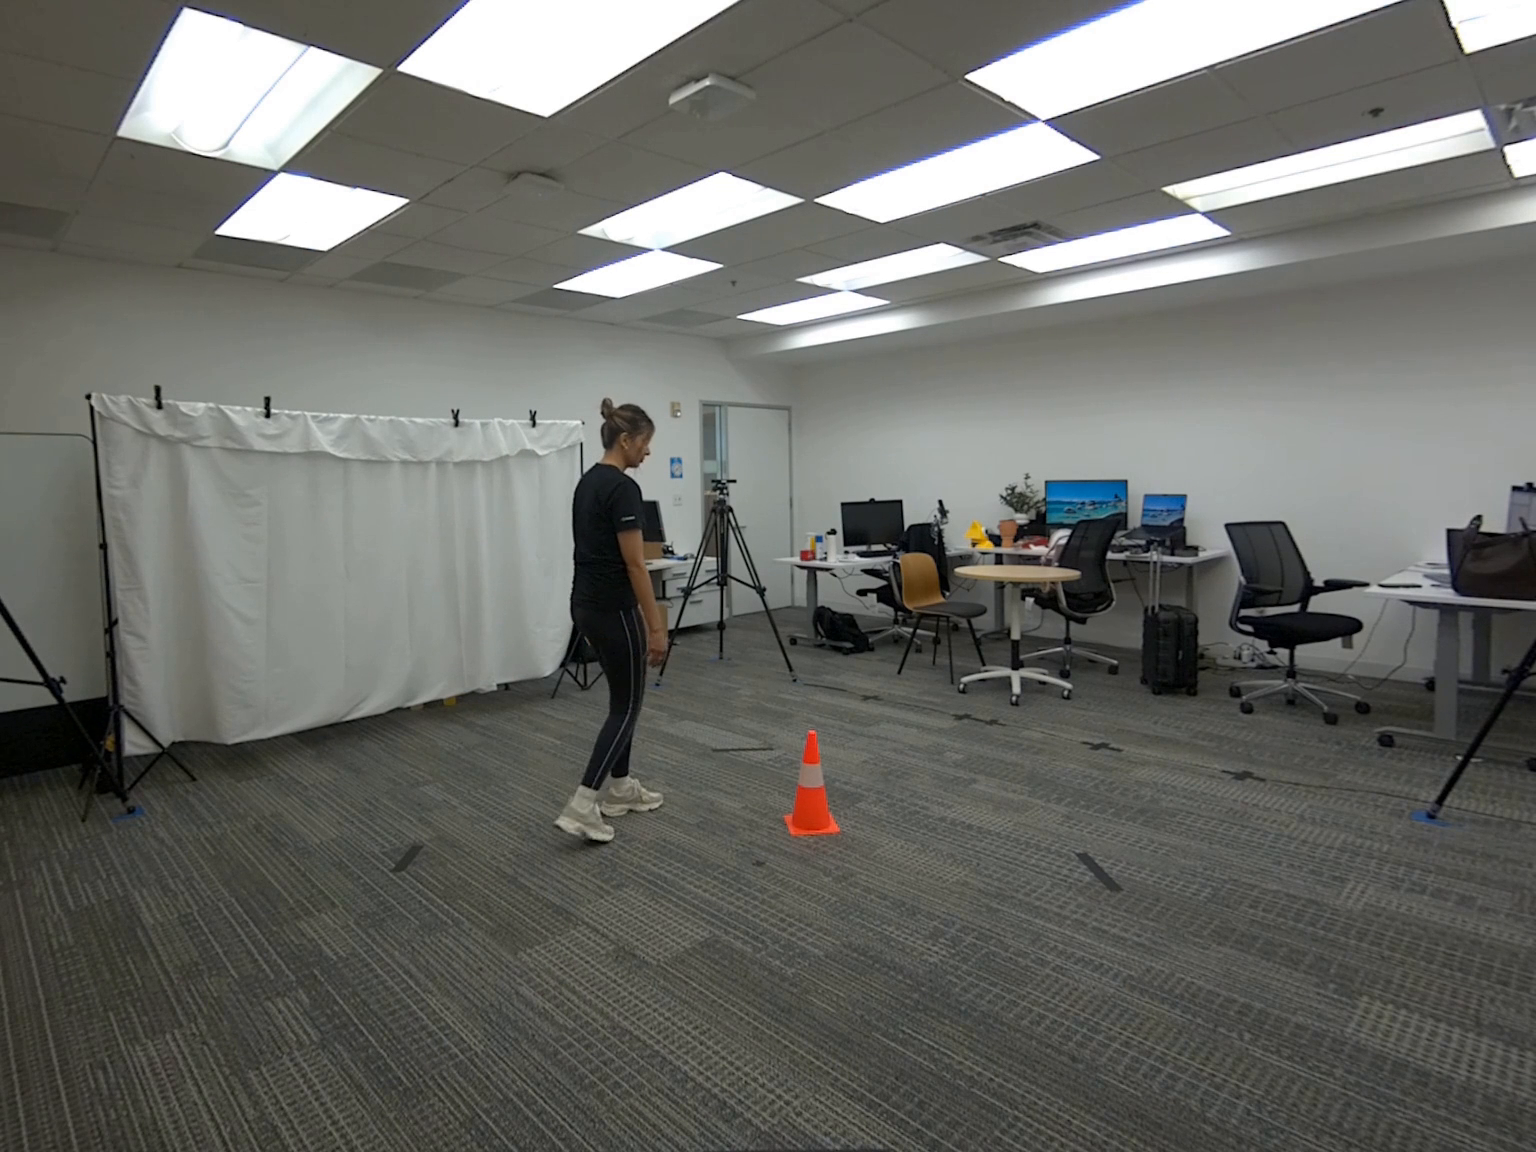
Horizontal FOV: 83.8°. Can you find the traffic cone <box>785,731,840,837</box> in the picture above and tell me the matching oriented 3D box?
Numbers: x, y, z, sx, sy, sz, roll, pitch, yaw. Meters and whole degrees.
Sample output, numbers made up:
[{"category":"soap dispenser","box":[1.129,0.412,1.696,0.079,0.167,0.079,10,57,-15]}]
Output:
[{"category":"traffic cone","box":[0.169,0.817,3.451,0.203,0.382,0.206,-2,4,-10]}]
